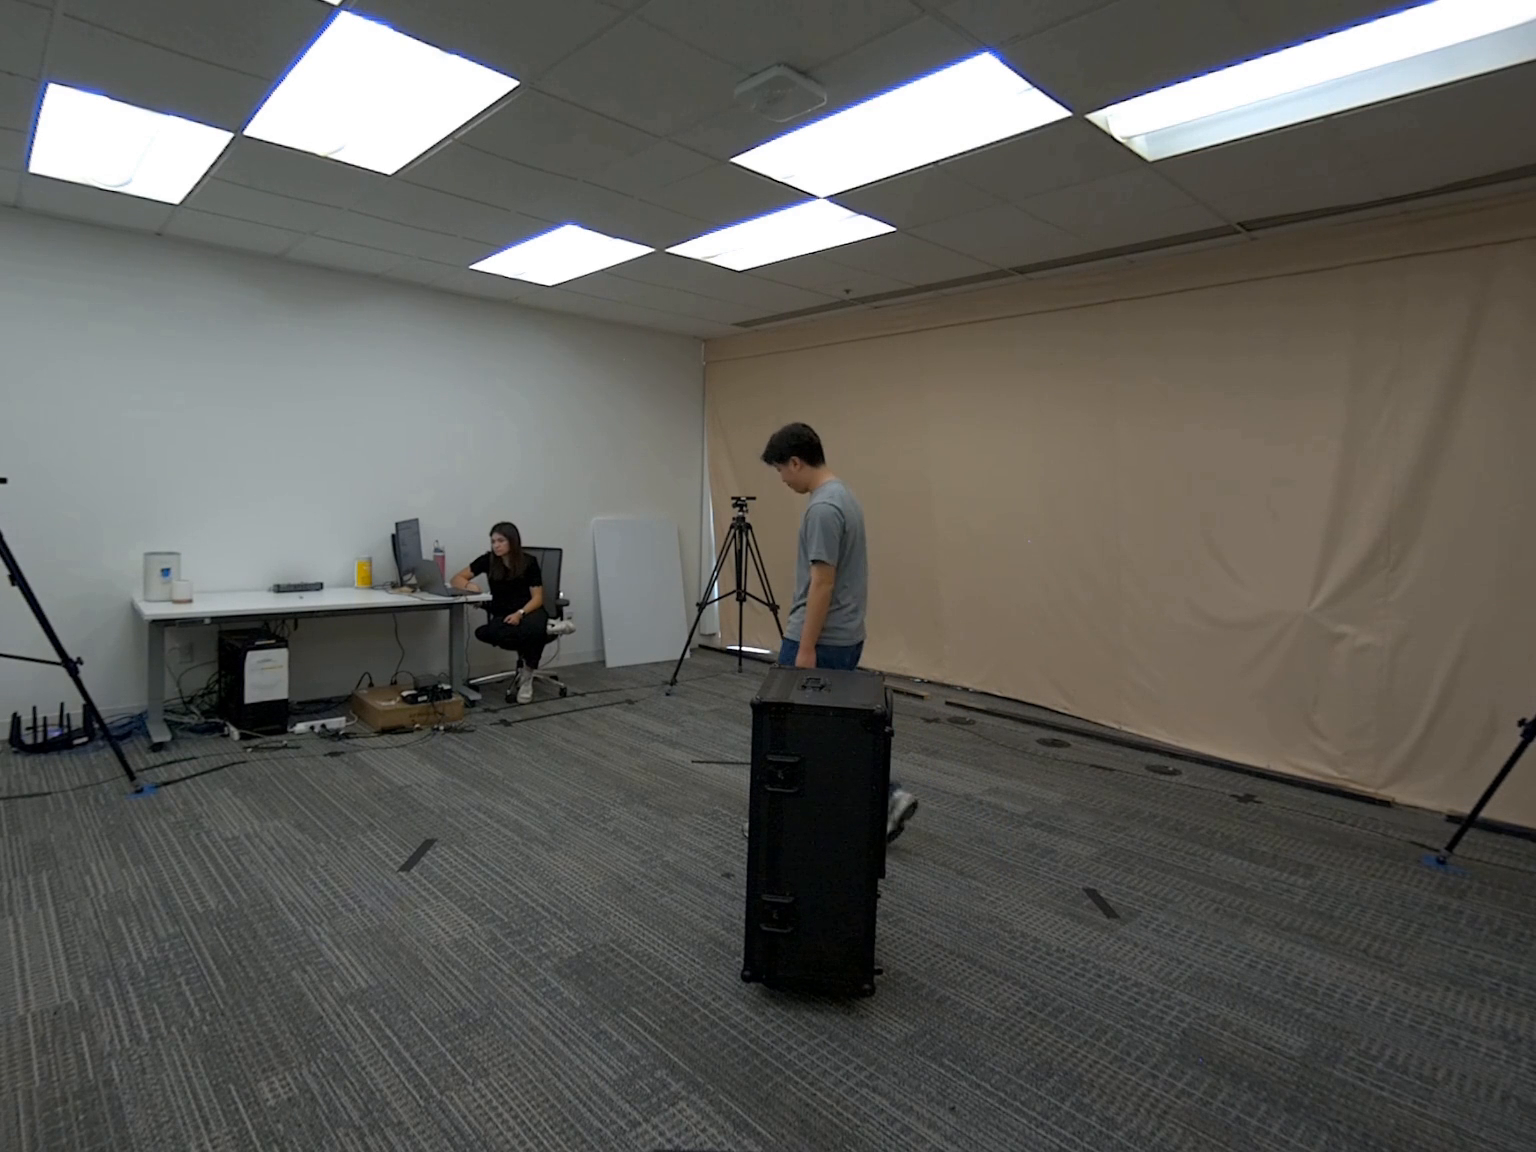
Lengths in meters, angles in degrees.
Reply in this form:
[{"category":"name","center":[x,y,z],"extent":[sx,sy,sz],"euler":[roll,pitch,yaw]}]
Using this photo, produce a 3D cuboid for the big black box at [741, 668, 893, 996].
[{"category":"big black box","center":[0.150,0.744,2.490],"extent":[0.399,0.859,0.519],"euler":[3,4,8]}]
